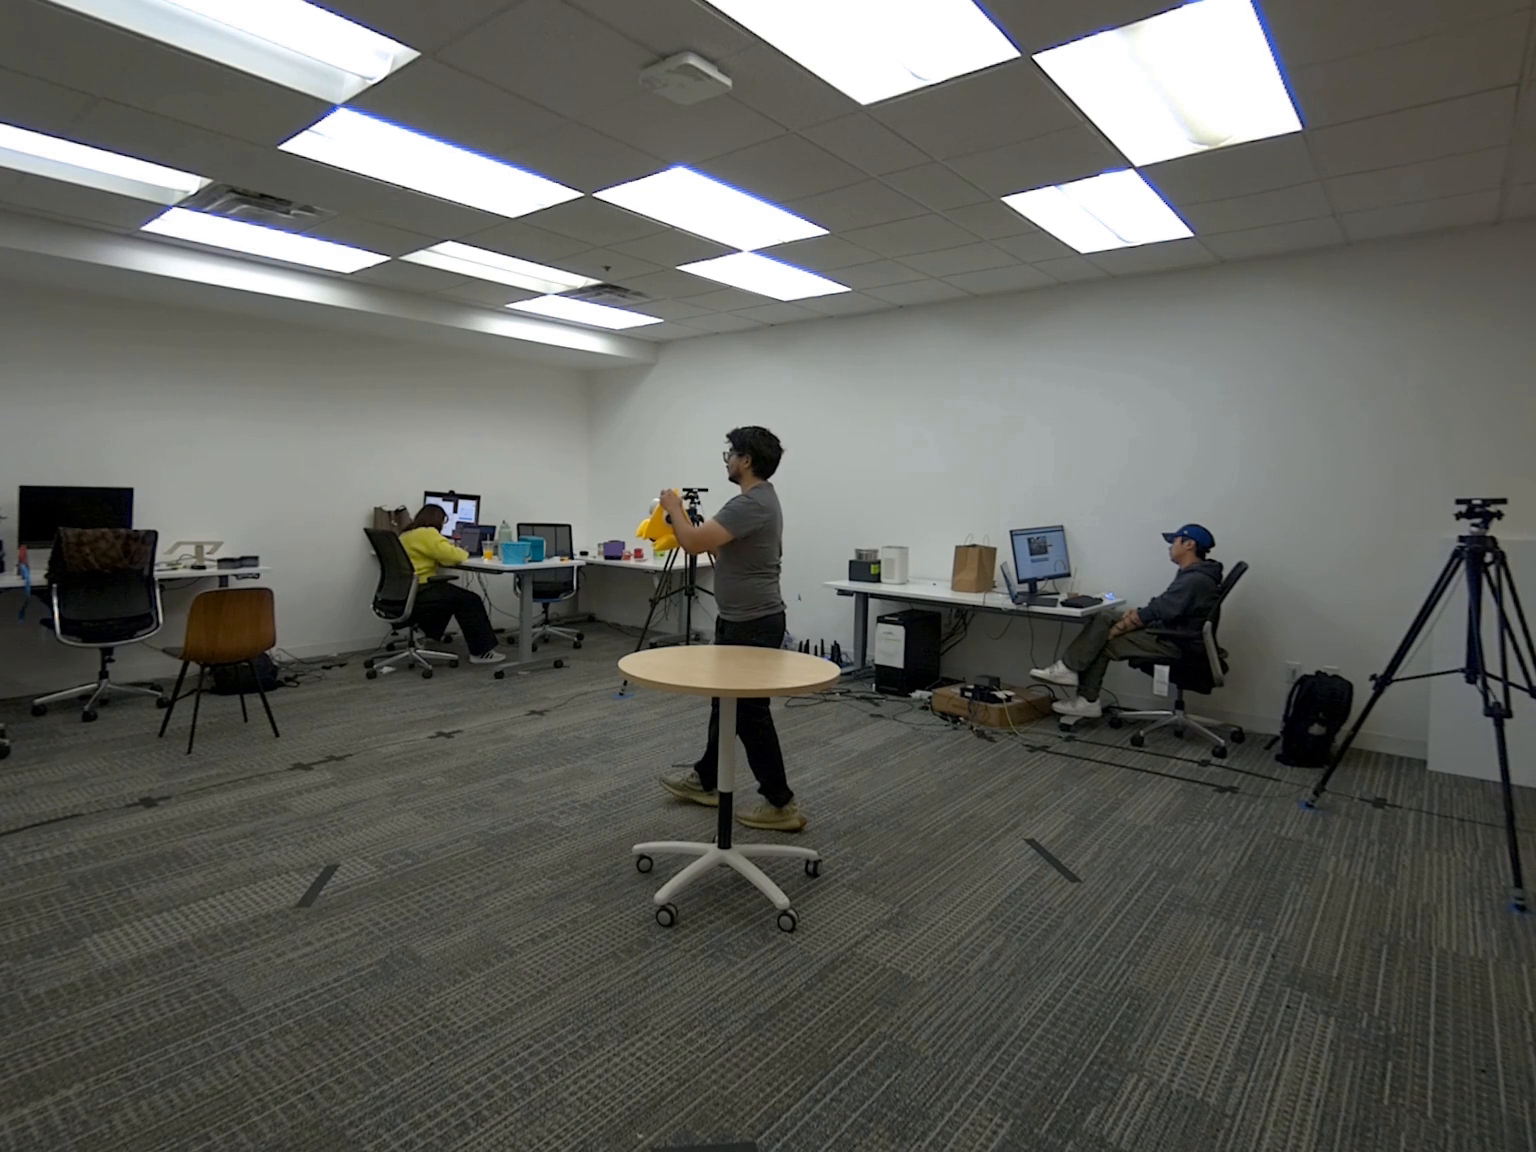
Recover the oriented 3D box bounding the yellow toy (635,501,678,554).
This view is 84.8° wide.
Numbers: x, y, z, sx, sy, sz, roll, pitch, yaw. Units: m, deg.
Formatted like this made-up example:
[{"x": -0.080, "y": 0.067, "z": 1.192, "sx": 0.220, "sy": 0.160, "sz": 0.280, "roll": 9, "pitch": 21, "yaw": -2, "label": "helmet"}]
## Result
[{"x": -0.465, "y": -0.266, "z": 3.659, "sx": 0.213, "sy": 0.226, "sz": 0.189, "roll": 33, "pitch": 38, "yaw": 33, "label": "yellow toy"}]
